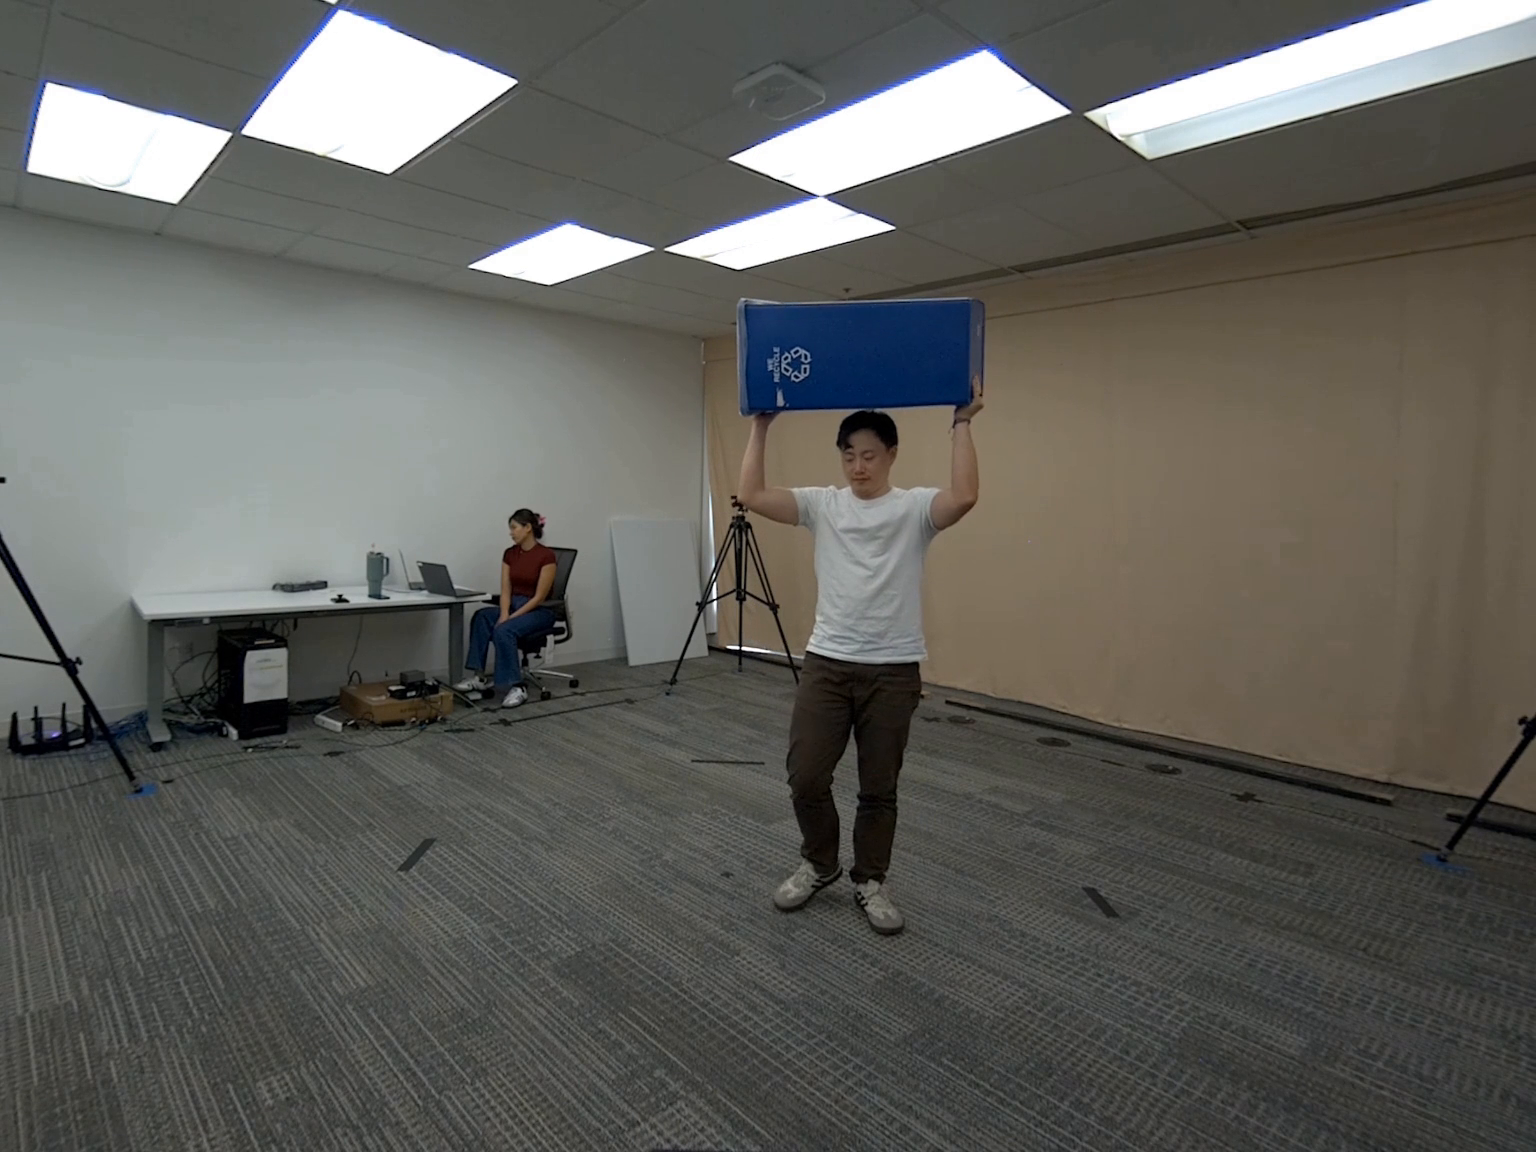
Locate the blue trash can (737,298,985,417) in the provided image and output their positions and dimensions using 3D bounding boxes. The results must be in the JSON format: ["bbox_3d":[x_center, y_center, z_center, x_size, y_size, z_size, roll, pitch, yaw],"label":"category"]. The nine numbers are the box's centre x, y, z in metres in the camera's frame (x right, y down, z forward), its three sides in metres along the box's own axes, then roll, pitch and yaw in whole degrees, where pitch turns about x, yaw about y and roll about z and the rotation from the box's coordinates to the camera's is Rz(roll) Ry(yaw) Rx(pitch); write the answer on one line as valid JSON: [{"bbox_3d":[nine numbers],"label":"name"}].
[{"bbox_3d":[0.287,-0.706,2.682,0.727,0.374,0.371,4,15,24],"label":"blue trash can"}]
